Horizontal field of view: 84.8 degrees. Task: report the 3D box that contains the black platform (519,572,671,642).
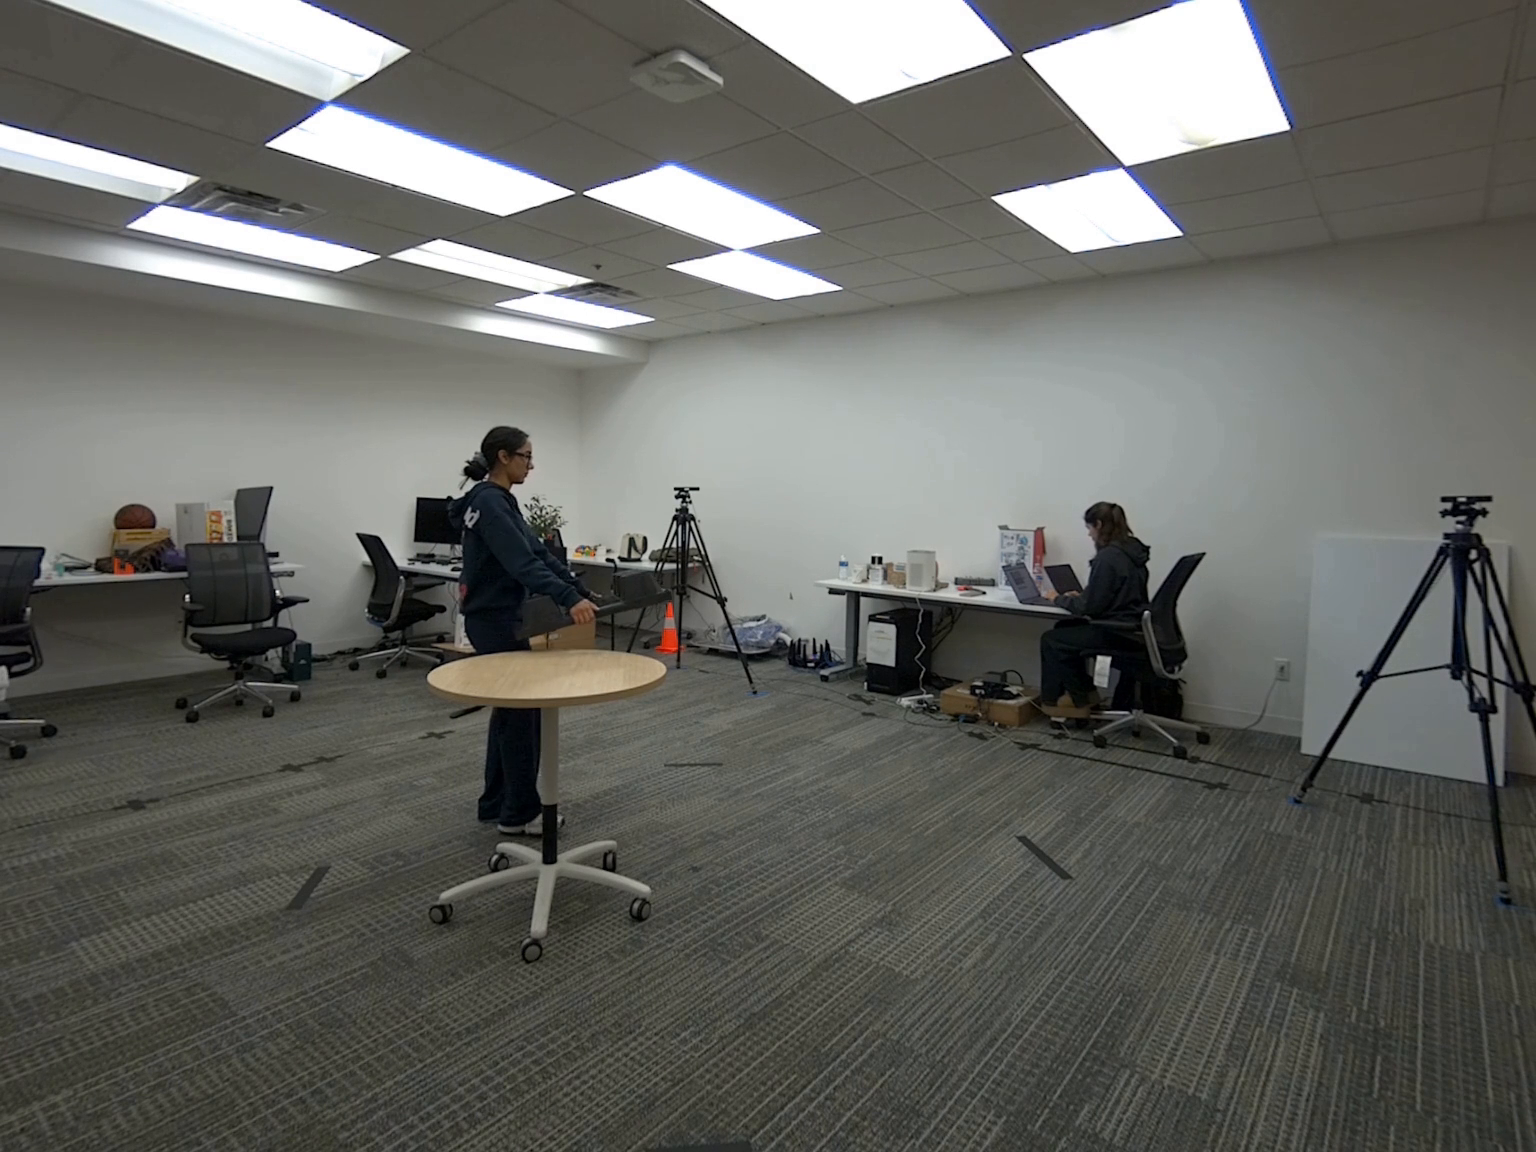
[{"bbox_3d":[-0.747,0.093,3.521,0.600,0.142,0.817,-17,6,-12],"label":"black platform"}]
